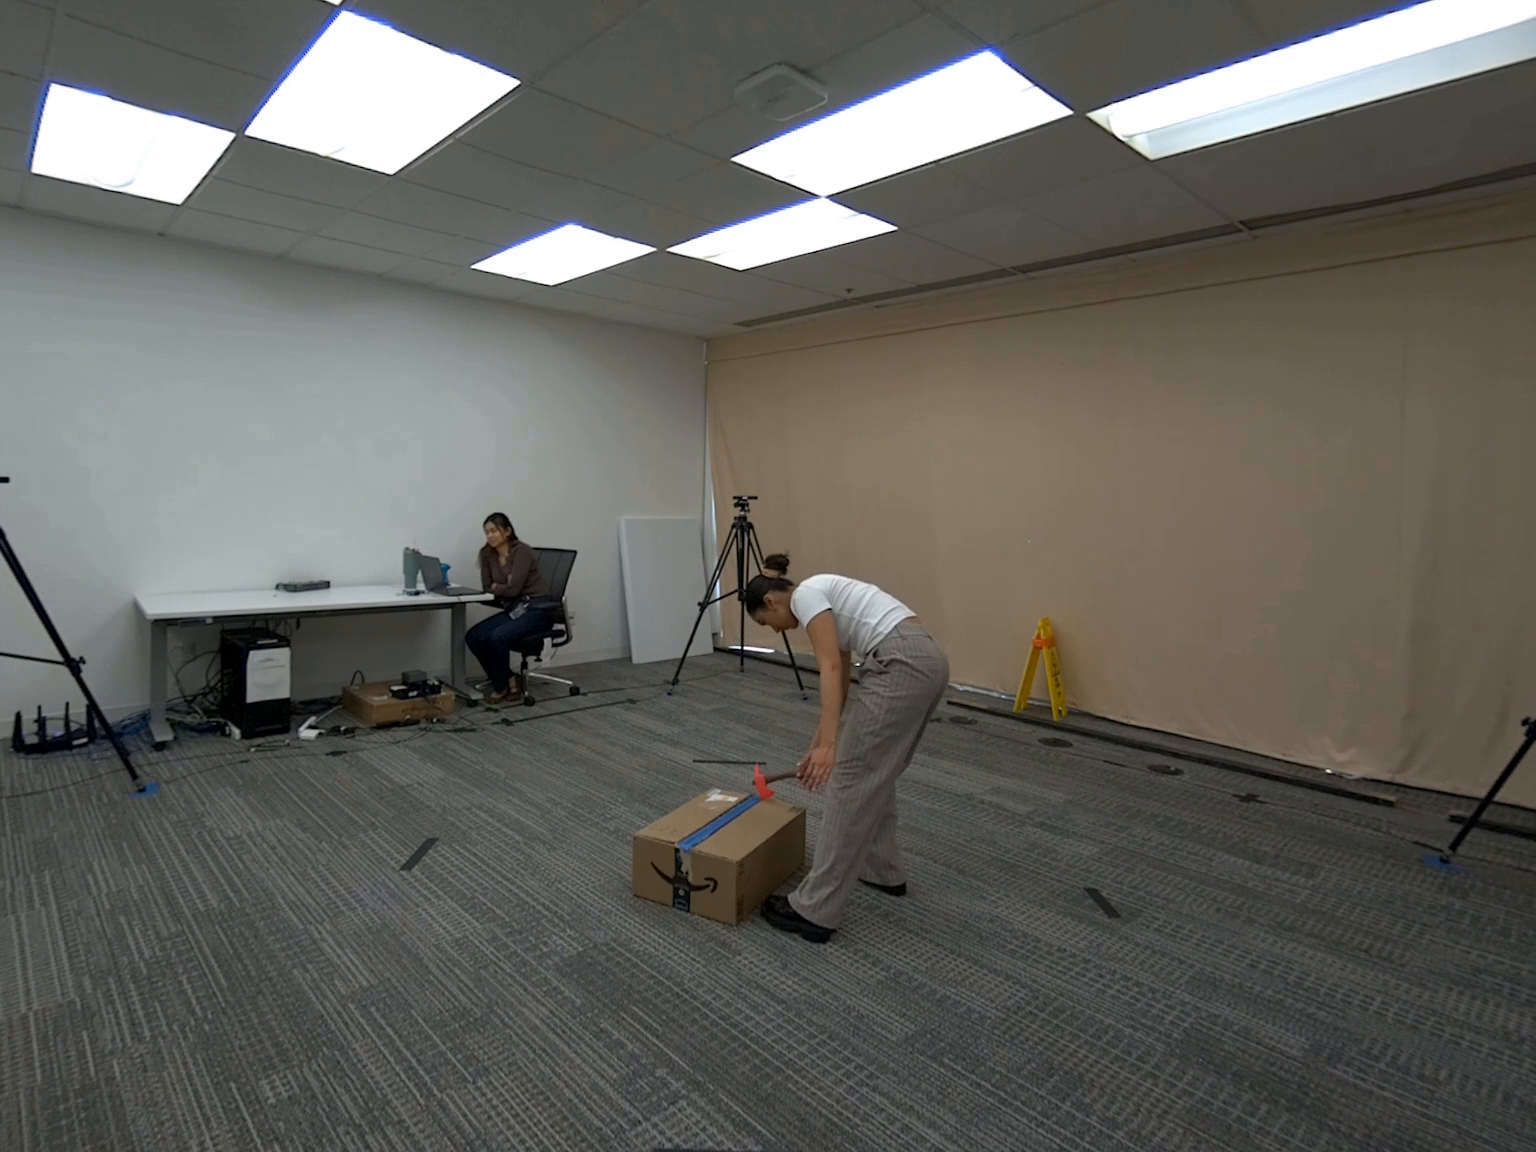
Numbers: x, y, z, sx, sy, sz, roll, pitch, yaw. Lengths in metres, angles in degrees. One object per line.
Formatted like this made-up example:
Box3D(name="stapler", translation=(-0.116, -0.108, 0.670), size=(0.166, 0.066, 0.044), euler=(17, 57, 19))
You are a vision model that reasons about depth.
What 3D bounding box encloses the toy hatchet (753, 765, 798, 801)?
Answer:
Box3D(name="toy hatchet", translation=(0.067, 0.809, 3.239), size=(0.274, 0.132, 0.029), euler=(5, -11, 16))
